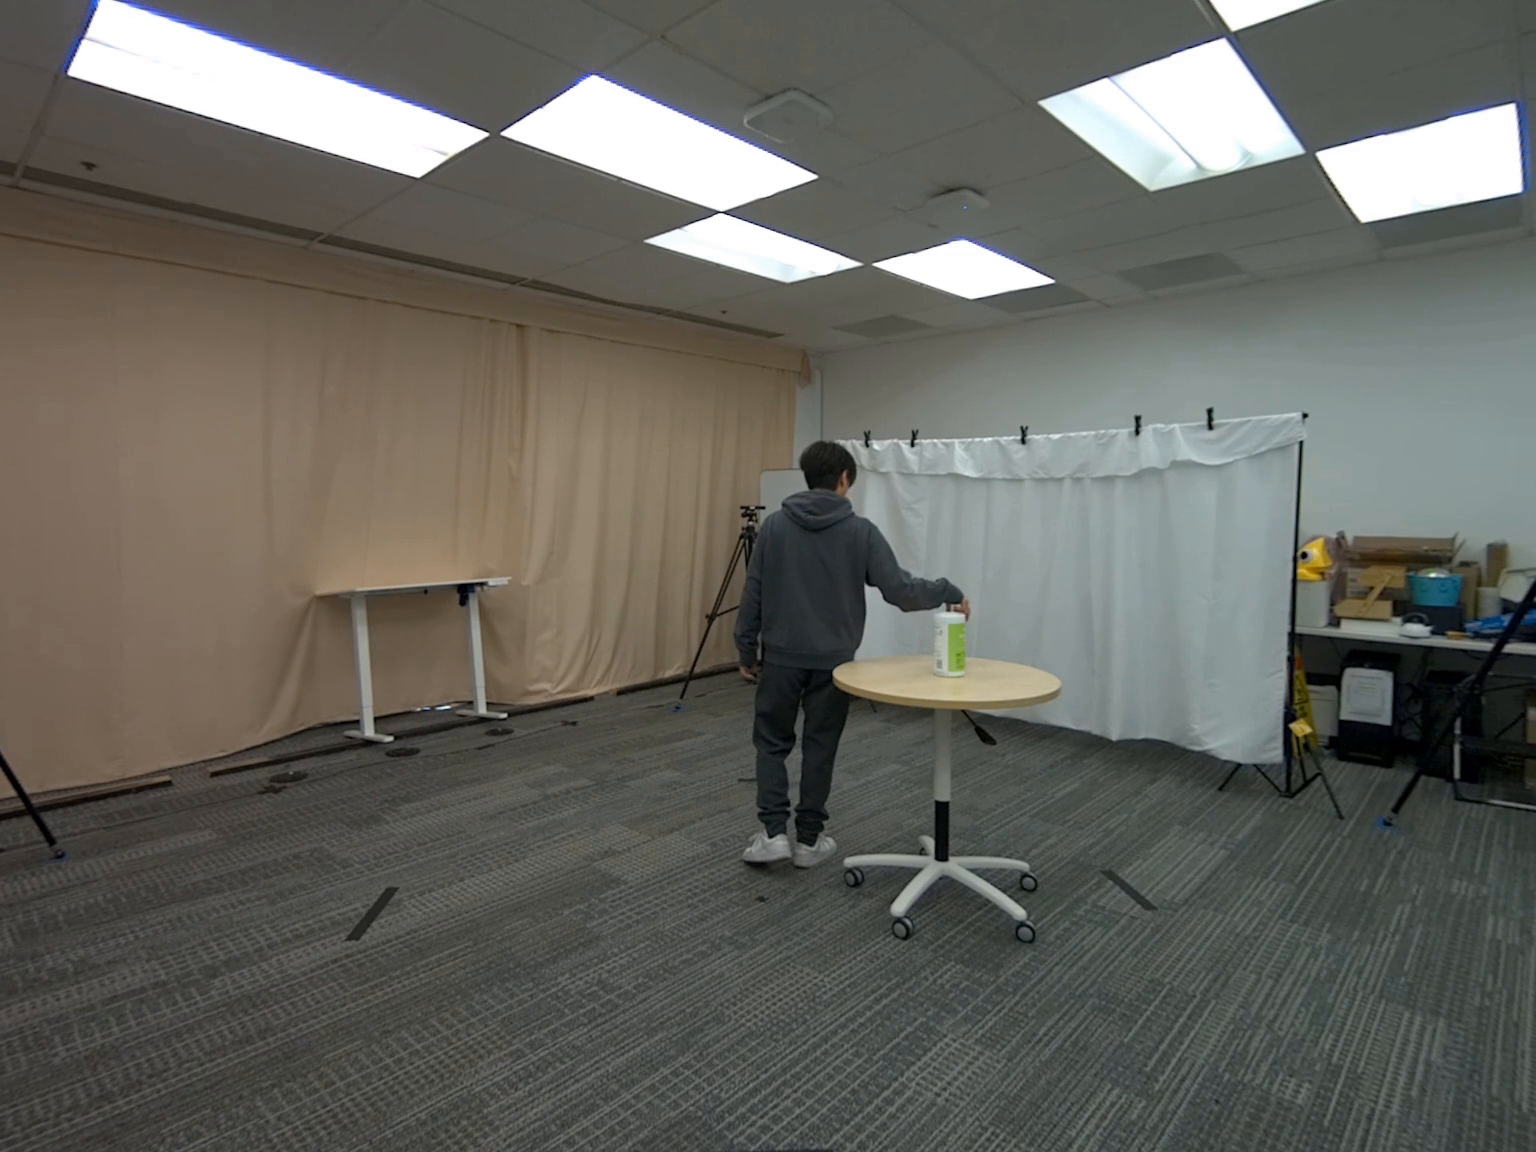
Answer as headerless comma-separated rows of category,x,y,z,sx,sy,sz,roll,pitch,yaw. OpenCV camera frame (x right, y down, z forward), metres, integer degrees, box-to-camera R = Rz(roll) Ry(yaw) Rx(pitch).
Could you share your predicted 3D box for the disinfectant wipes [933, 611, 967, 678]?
disinfectant wipes,0.638,0.241,2.951,0.118,0.217,0.118,-2,3,-2
